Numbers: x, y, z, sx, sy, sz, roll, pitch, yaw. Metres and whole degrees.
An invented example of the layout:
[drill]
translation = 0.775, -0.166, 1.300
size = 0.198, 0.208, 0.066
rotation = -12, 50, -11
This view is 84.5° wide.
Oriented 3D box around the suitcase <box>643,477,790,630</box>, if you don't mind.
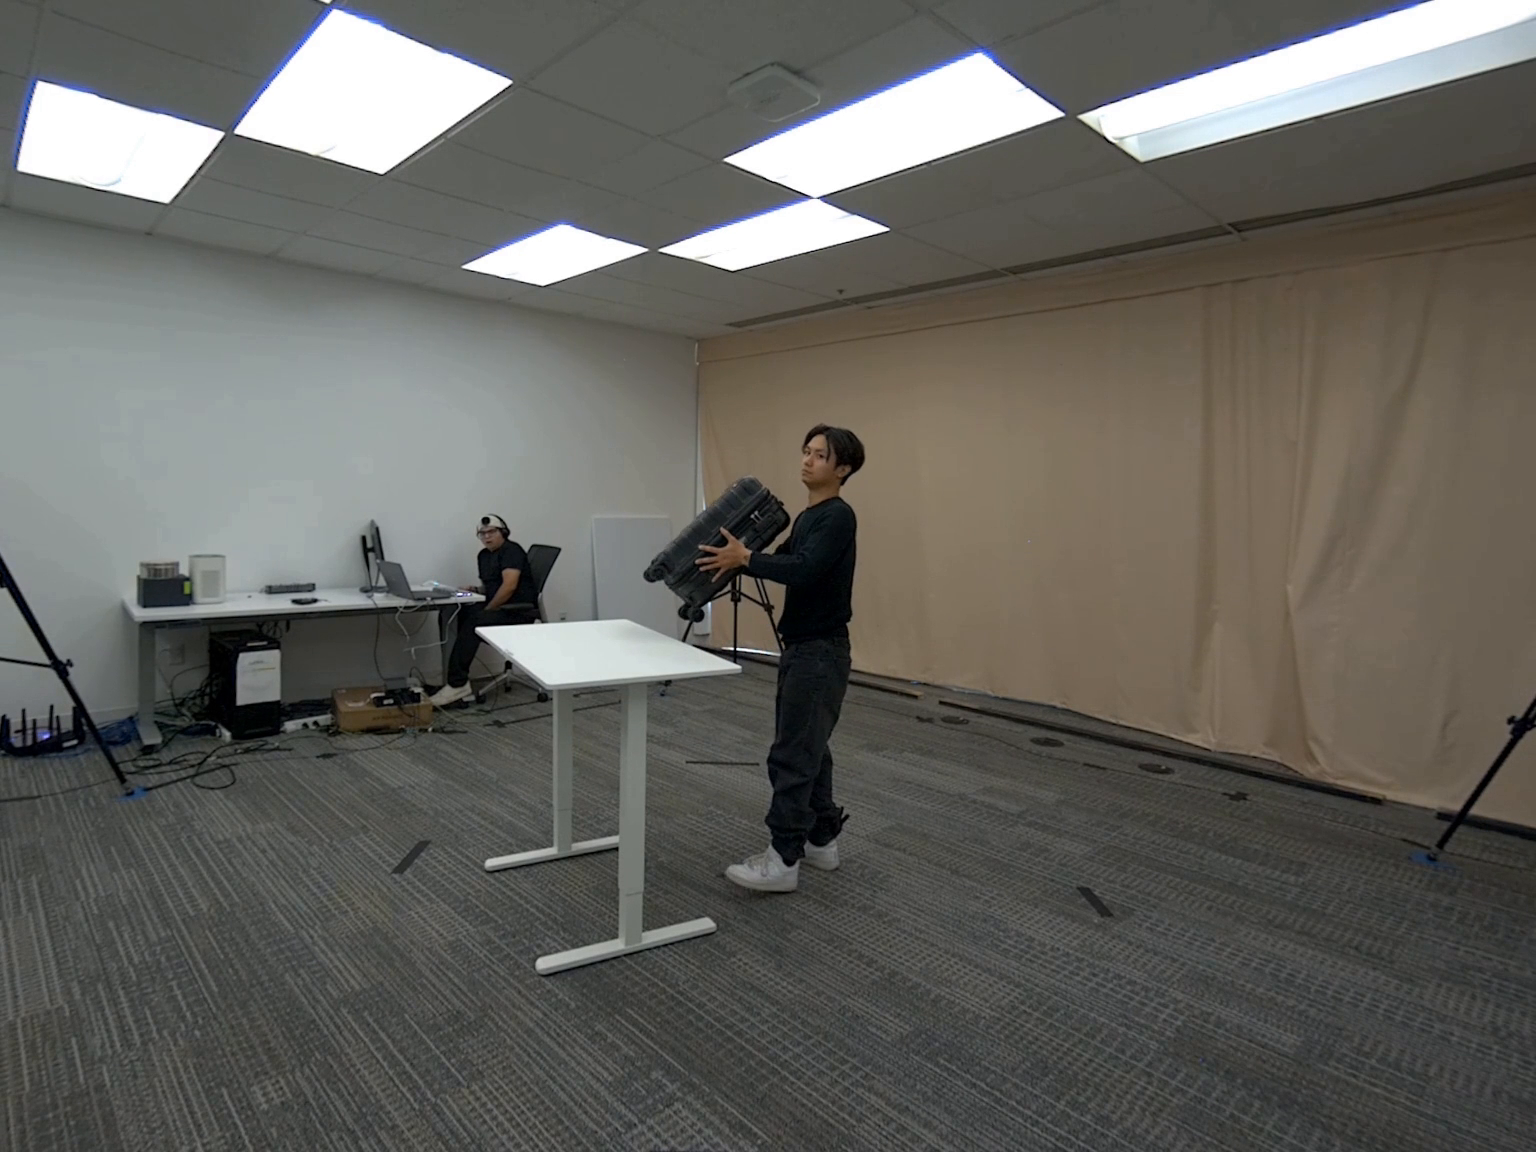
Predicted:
[suitcase]
translation = -0.190, -0.117, 3.190
size = 0.247, 0.549, 0.378
rotation = 46, -10, -7
